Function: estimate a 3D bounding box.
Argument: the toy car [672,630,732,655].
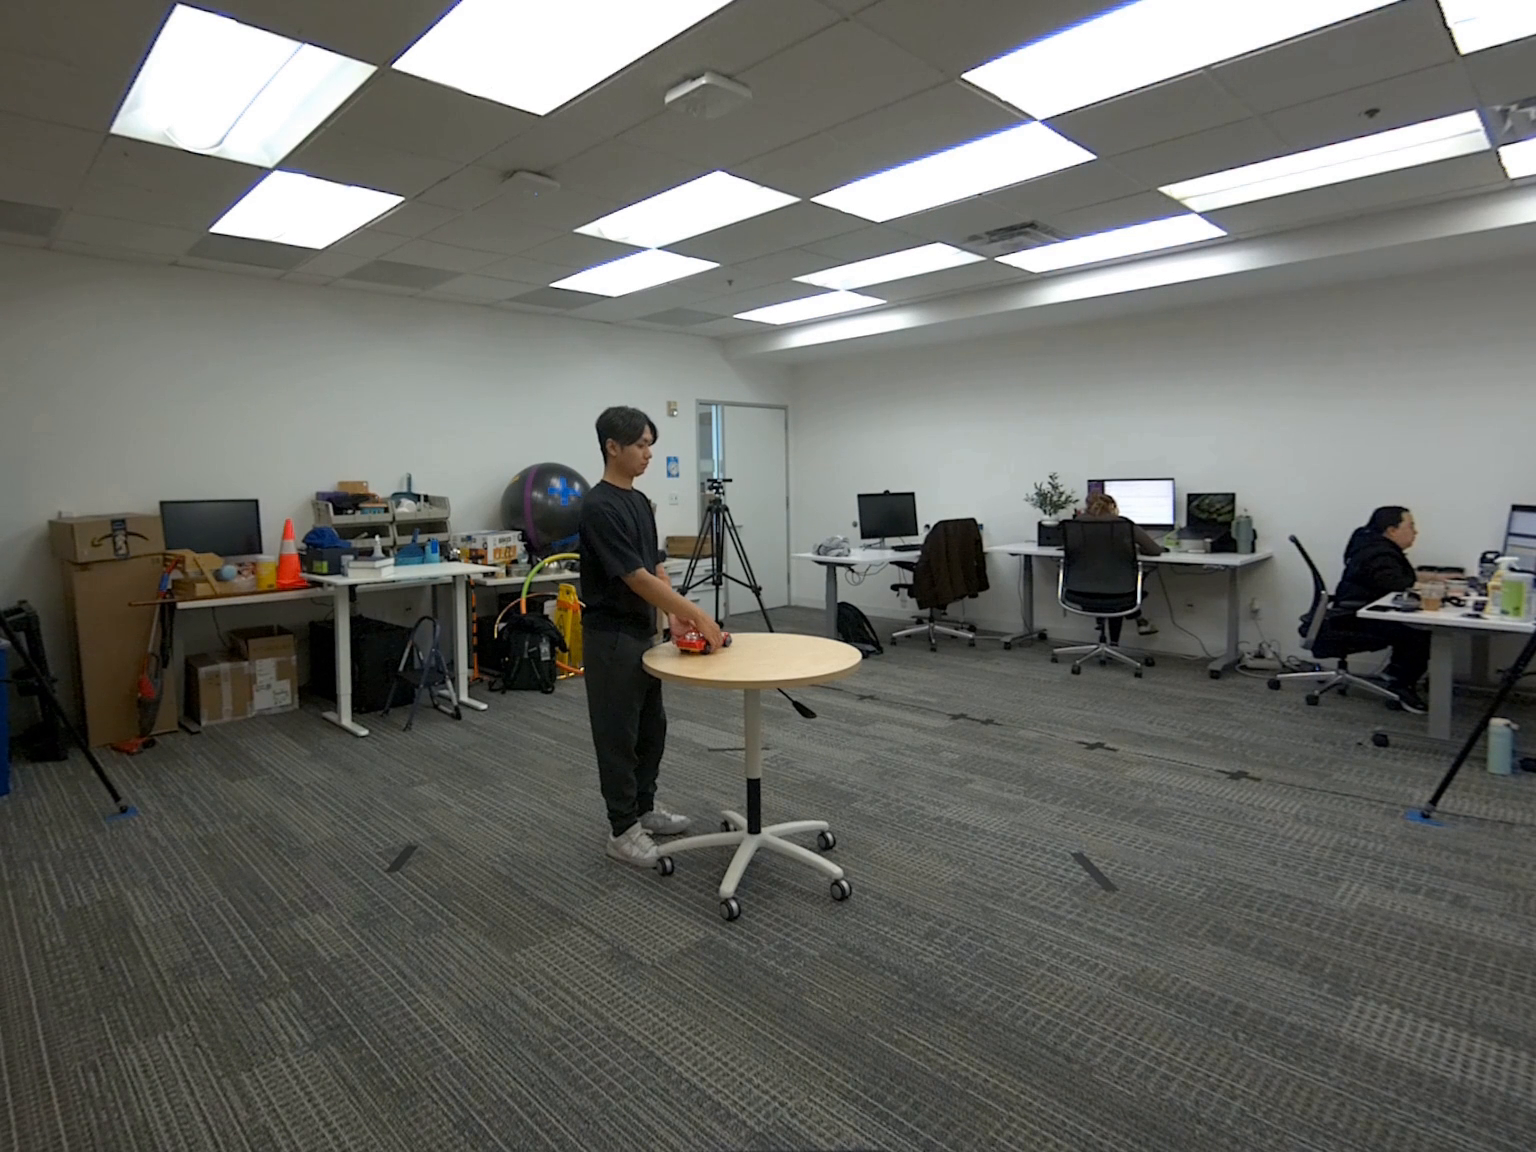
[{"bbox_3d":[-0.238,0.236,3.068,0.134,0.083,0.247,5,-1,29],"label":"toy car"}]
